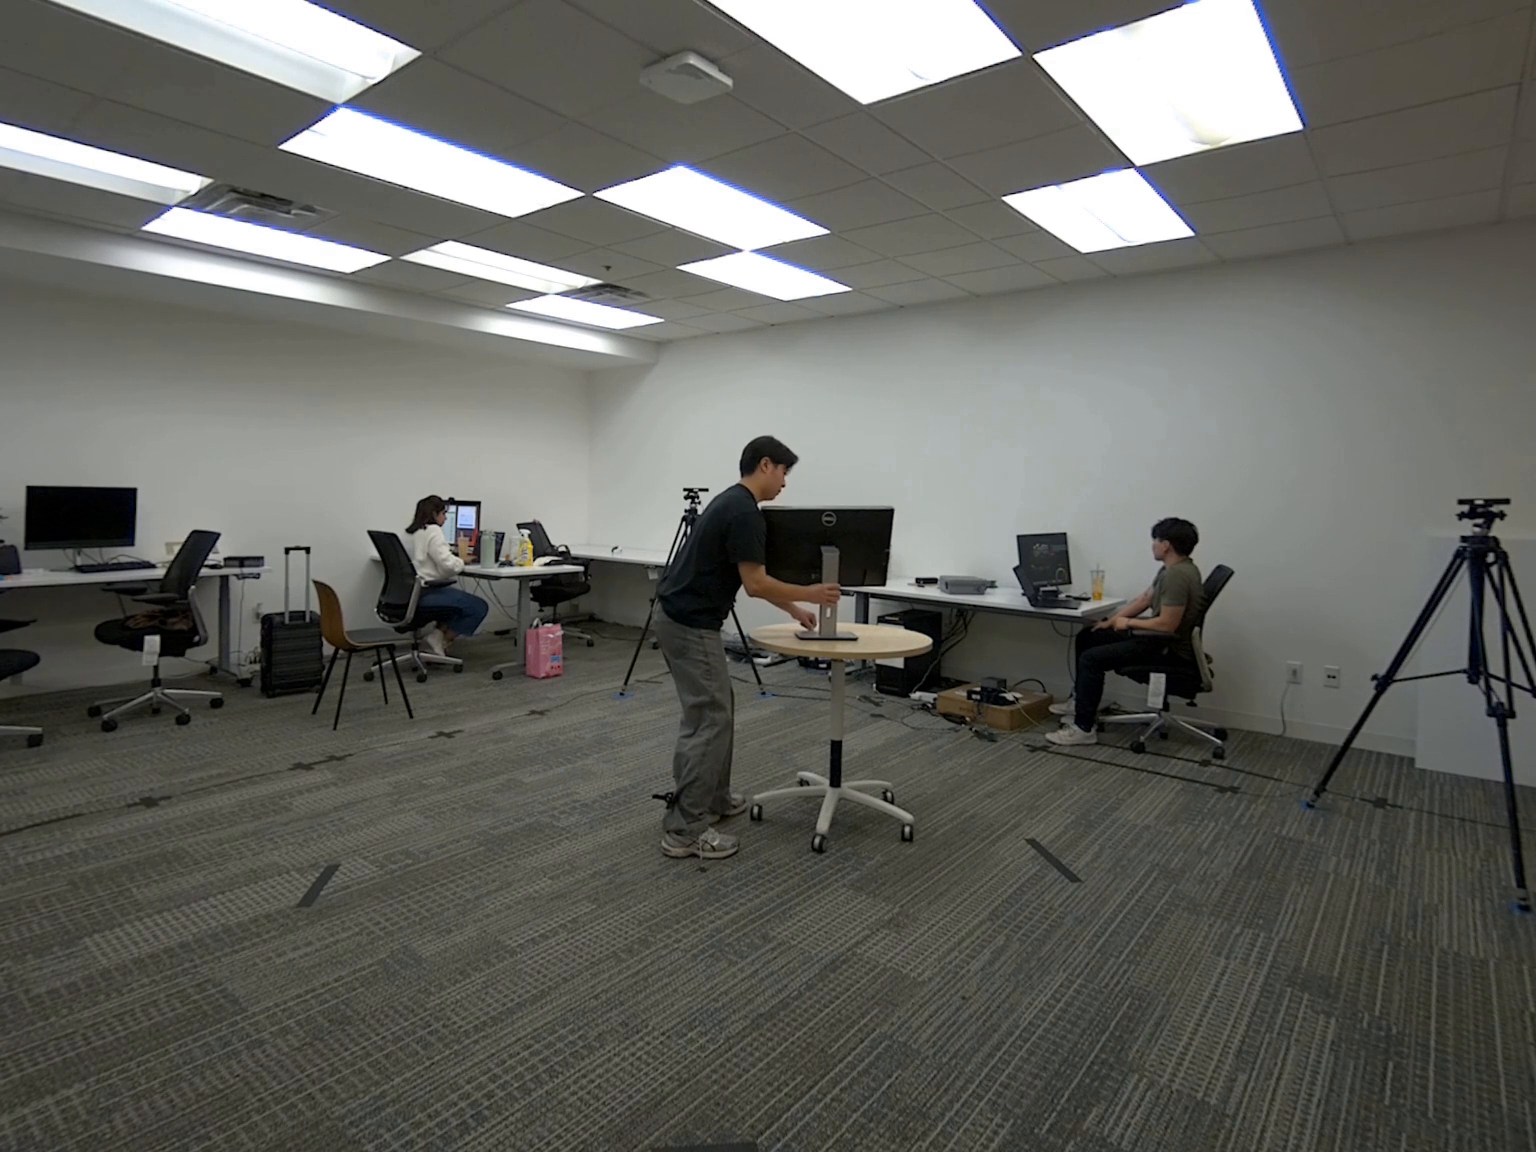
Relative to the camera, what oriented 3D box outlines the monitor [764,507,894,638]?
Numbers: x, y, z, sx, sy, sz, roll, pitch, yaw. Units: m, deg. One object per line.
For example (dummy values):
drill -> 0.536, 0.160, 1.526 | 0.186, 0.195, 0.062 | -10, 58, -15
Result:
monitor -> 0.237, -0.015, 3.557 | 0.560, 0.564, 0.224 | 1, 4, -3
